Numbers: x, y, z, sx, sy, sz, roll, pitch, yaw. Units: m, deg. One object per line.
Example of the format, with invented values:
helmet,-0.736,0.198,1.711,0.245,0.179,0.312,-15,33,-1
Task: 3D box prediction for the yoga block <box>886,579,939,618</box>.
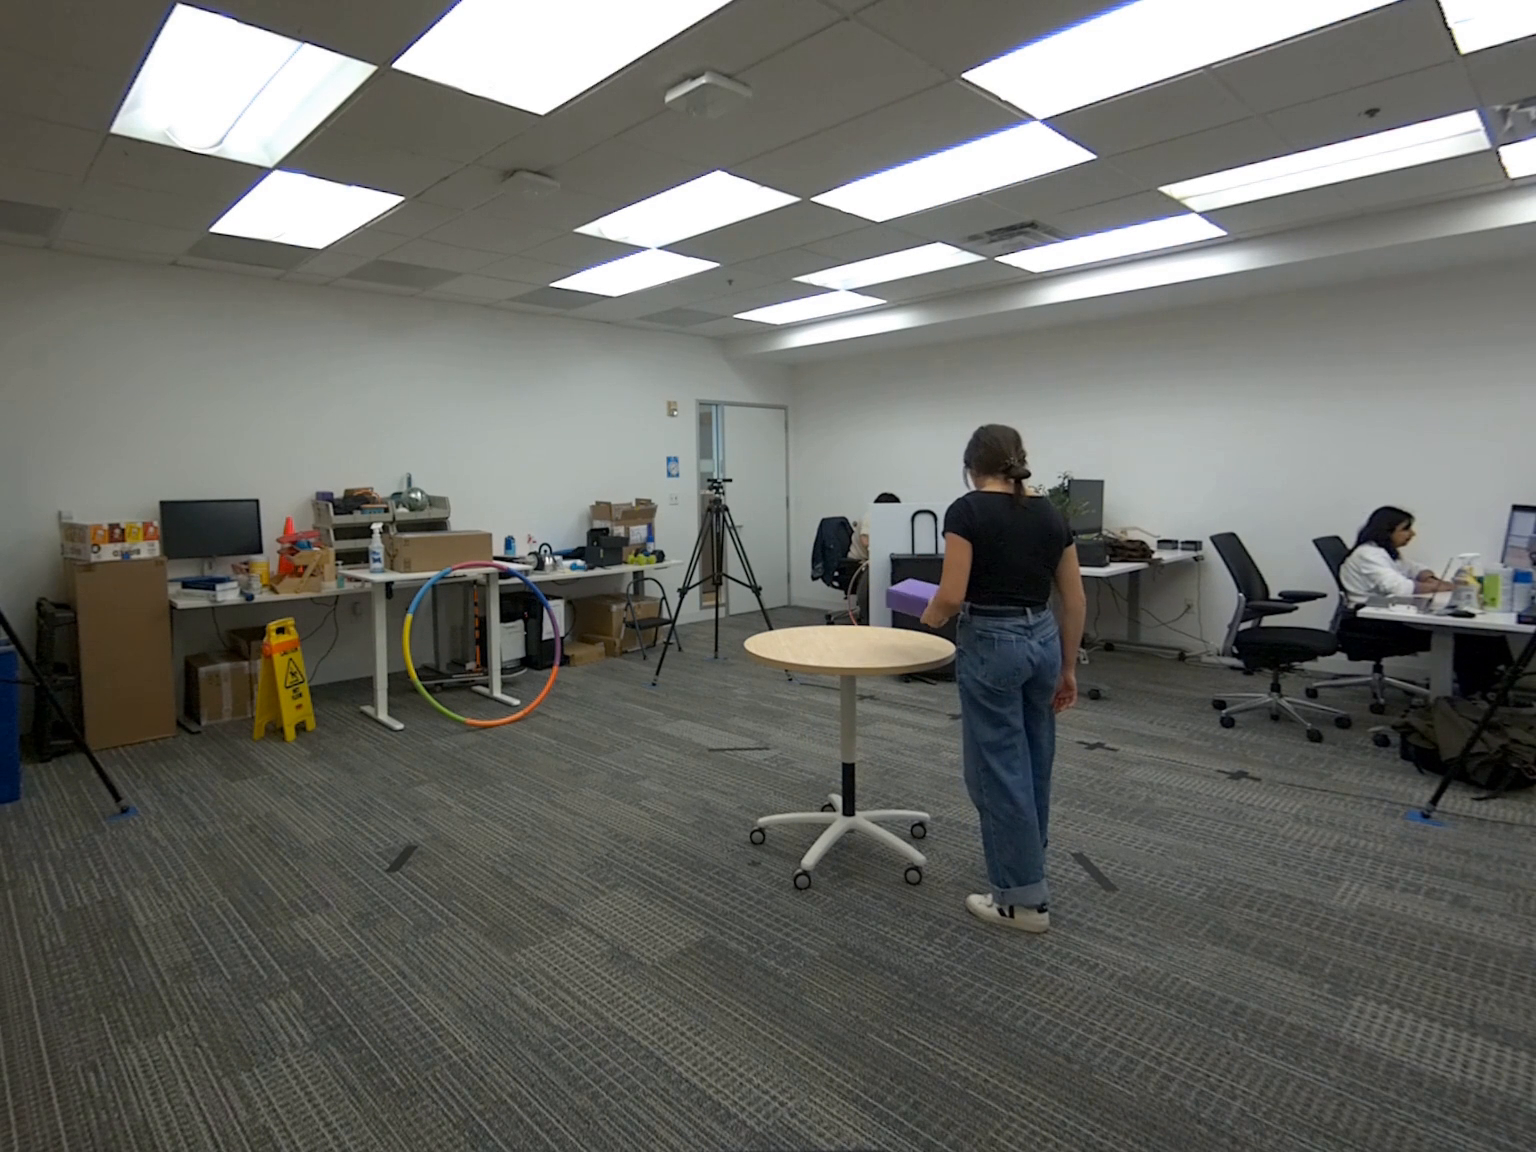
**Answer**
yoga block,0.567,0.087,2.989,0.146,0.075,0.237,-20,25,-41
